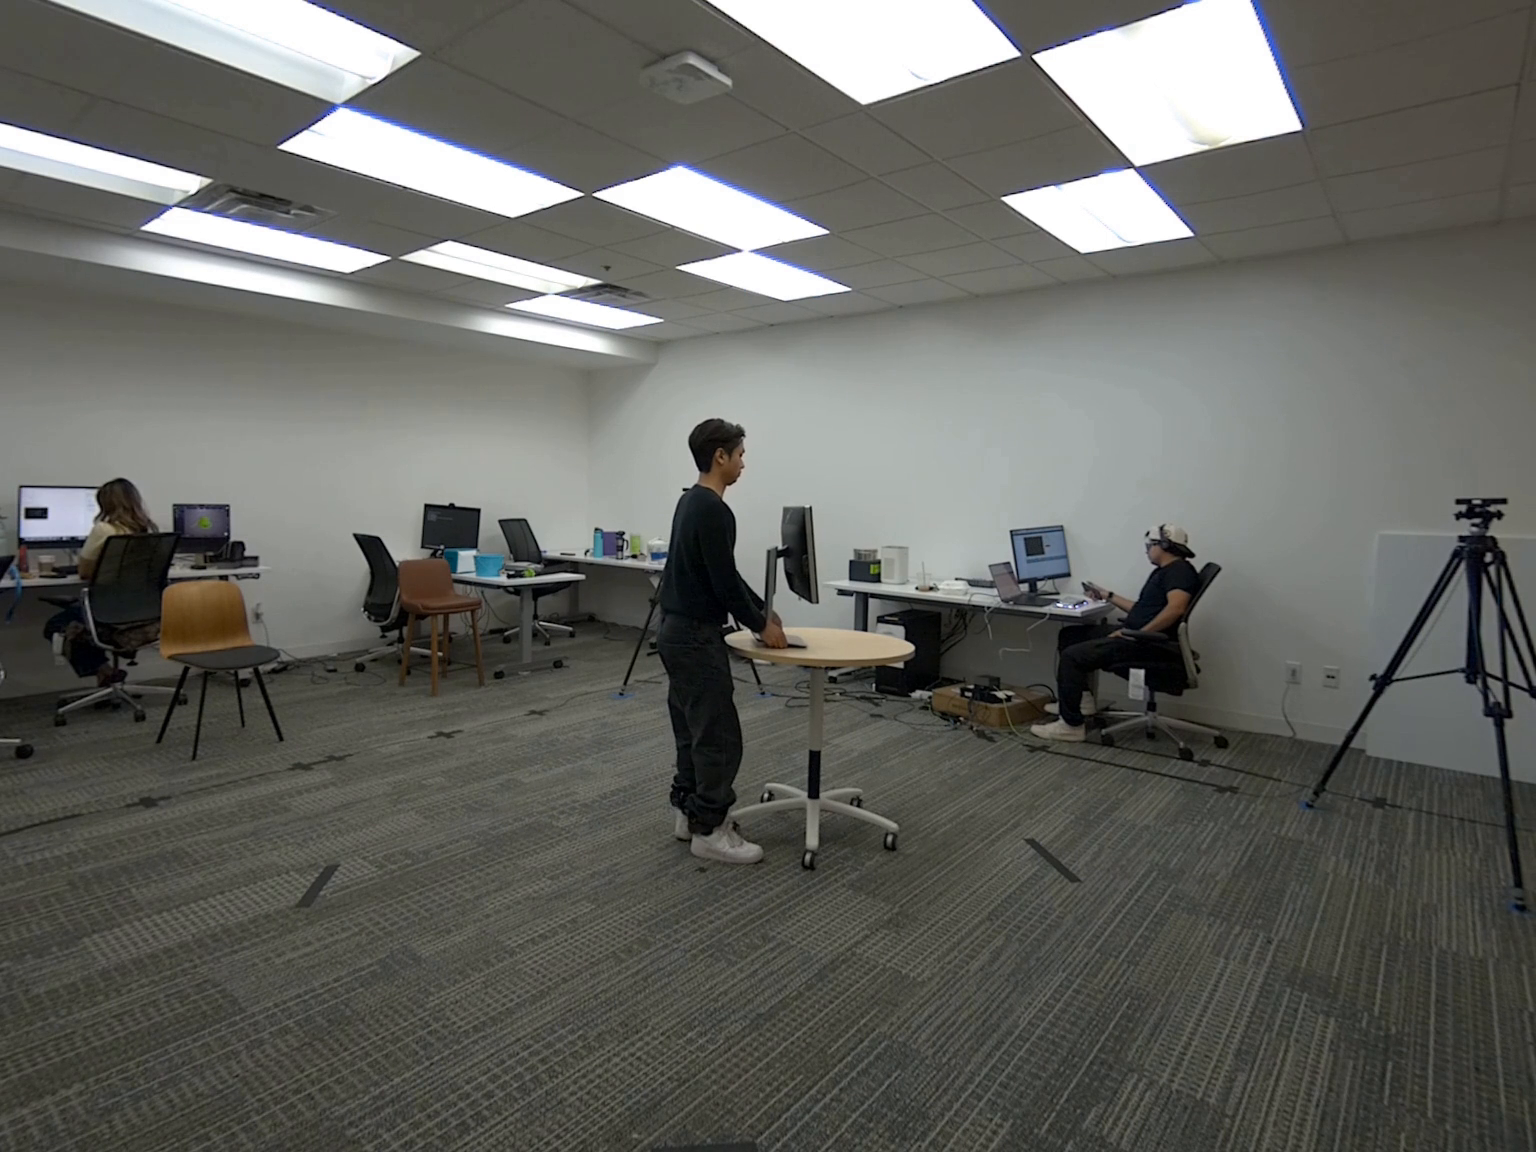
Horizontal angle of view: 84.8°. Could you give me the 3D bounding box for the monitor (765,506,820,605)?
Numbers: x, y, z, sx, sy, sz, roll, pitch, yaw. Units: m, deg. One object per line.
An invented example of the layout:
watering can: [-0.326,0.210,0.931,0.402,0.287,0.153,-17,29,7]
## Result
monitor: [0.064,-0.008,3.389,0.185,0.521,0.545,7,3,-9]
